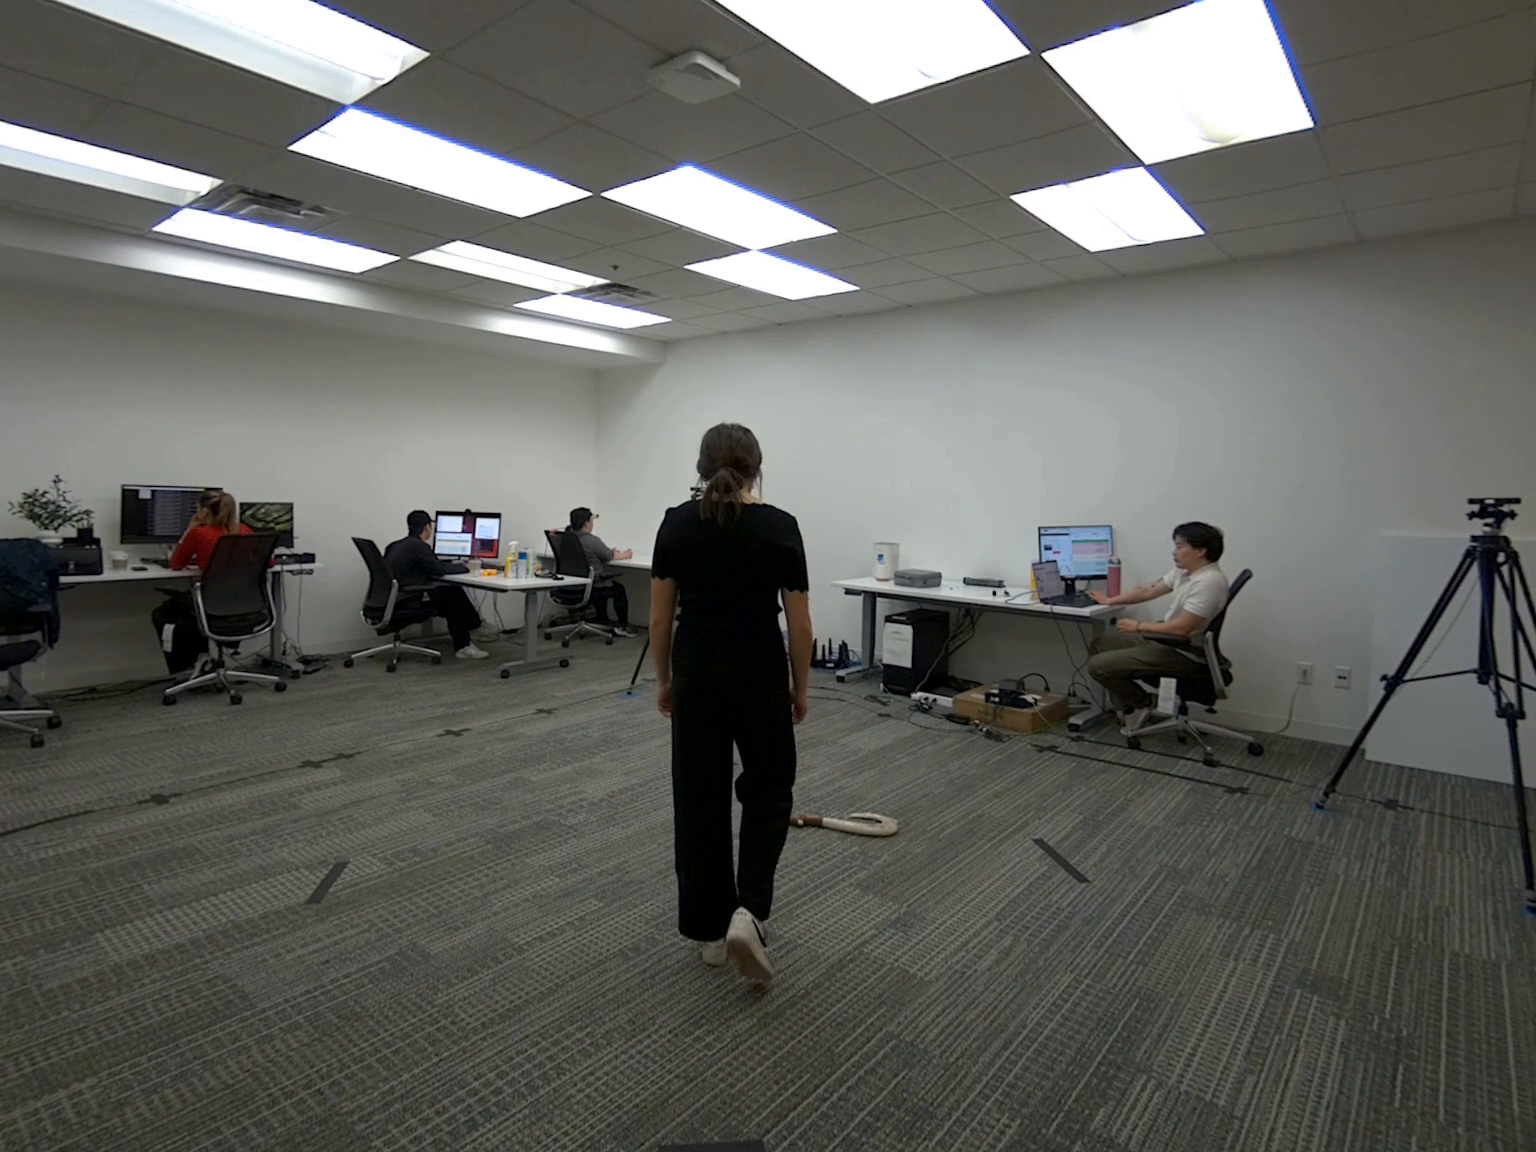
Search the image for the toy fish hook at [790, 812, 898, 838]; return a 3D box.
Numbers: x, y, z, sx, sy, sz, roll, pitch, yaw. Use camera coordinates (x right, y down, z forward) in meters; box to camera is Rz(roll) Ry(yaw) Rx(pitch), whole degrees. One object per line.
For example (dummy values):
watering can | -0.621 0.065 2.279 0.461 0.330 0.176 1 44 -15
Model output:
toy fish hook | 0.272 1.014 3.551 0.512 0.048 0.221 4 -2 10
